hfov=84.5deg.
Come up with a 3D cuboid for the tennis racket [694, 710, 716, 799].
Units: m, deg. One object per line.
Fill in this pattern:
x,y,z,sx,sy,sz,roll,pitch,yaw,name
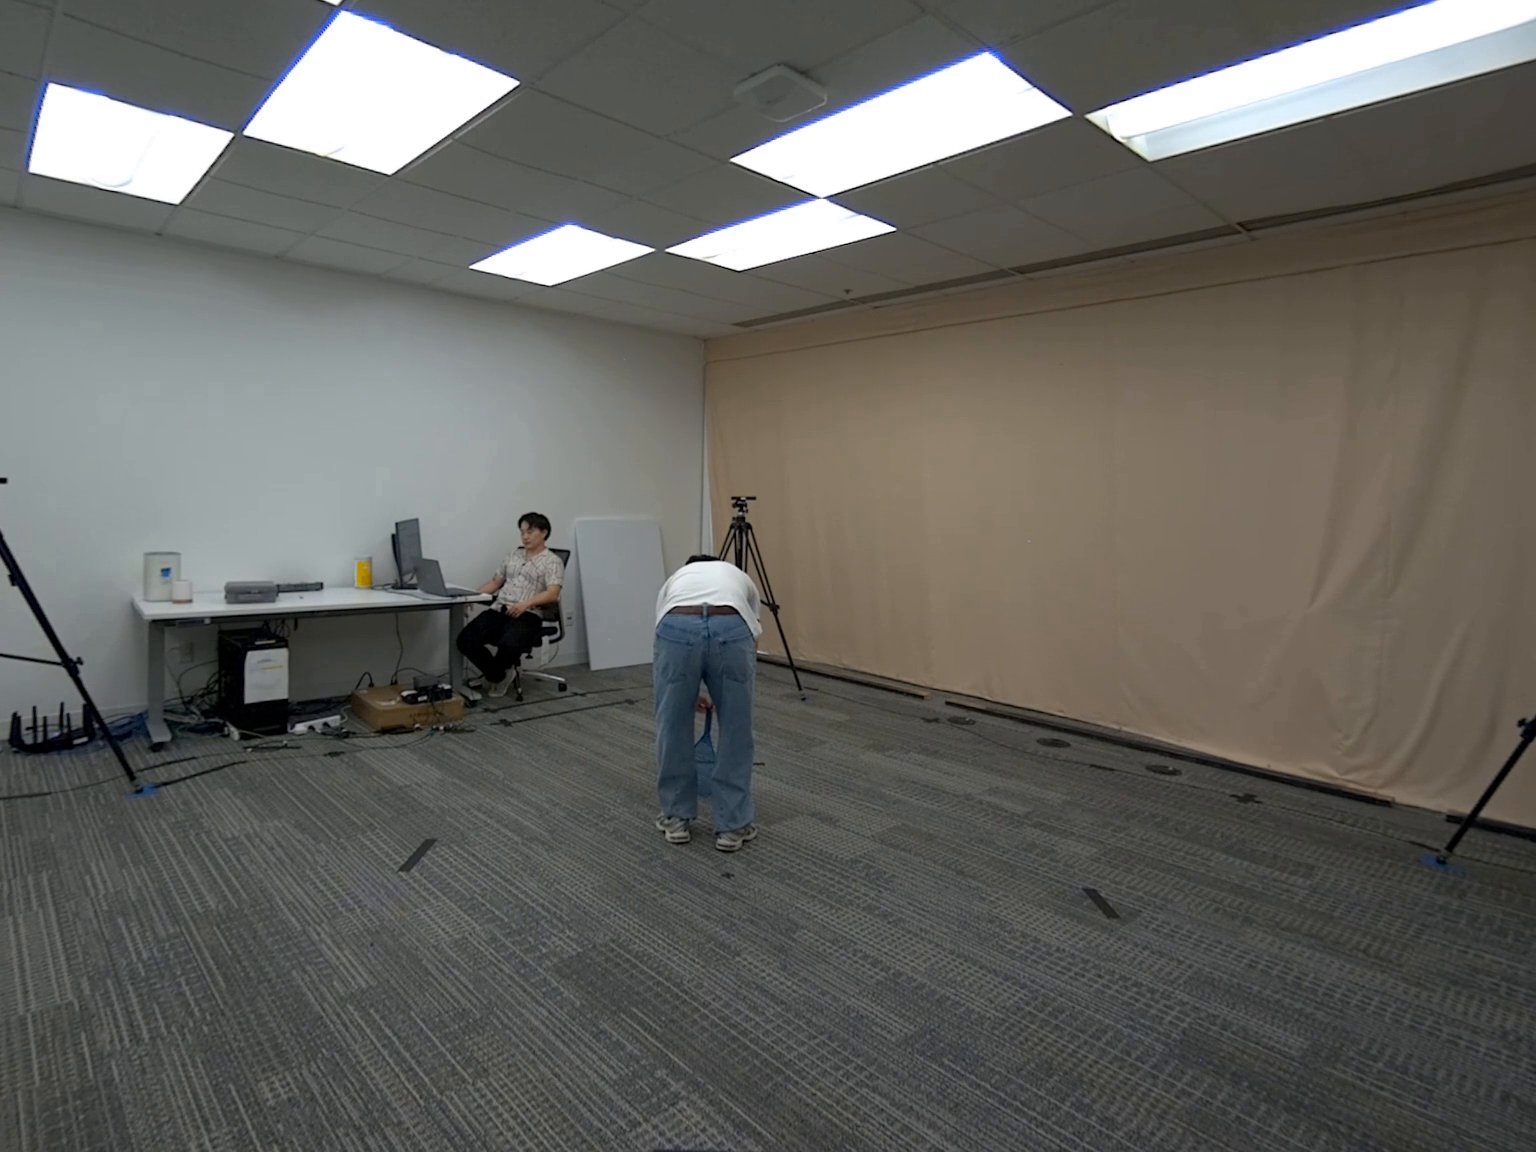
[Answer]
-0.295,0.826,3.908,0.209,0.433,0.032,-5,0,-36,tennis racket
